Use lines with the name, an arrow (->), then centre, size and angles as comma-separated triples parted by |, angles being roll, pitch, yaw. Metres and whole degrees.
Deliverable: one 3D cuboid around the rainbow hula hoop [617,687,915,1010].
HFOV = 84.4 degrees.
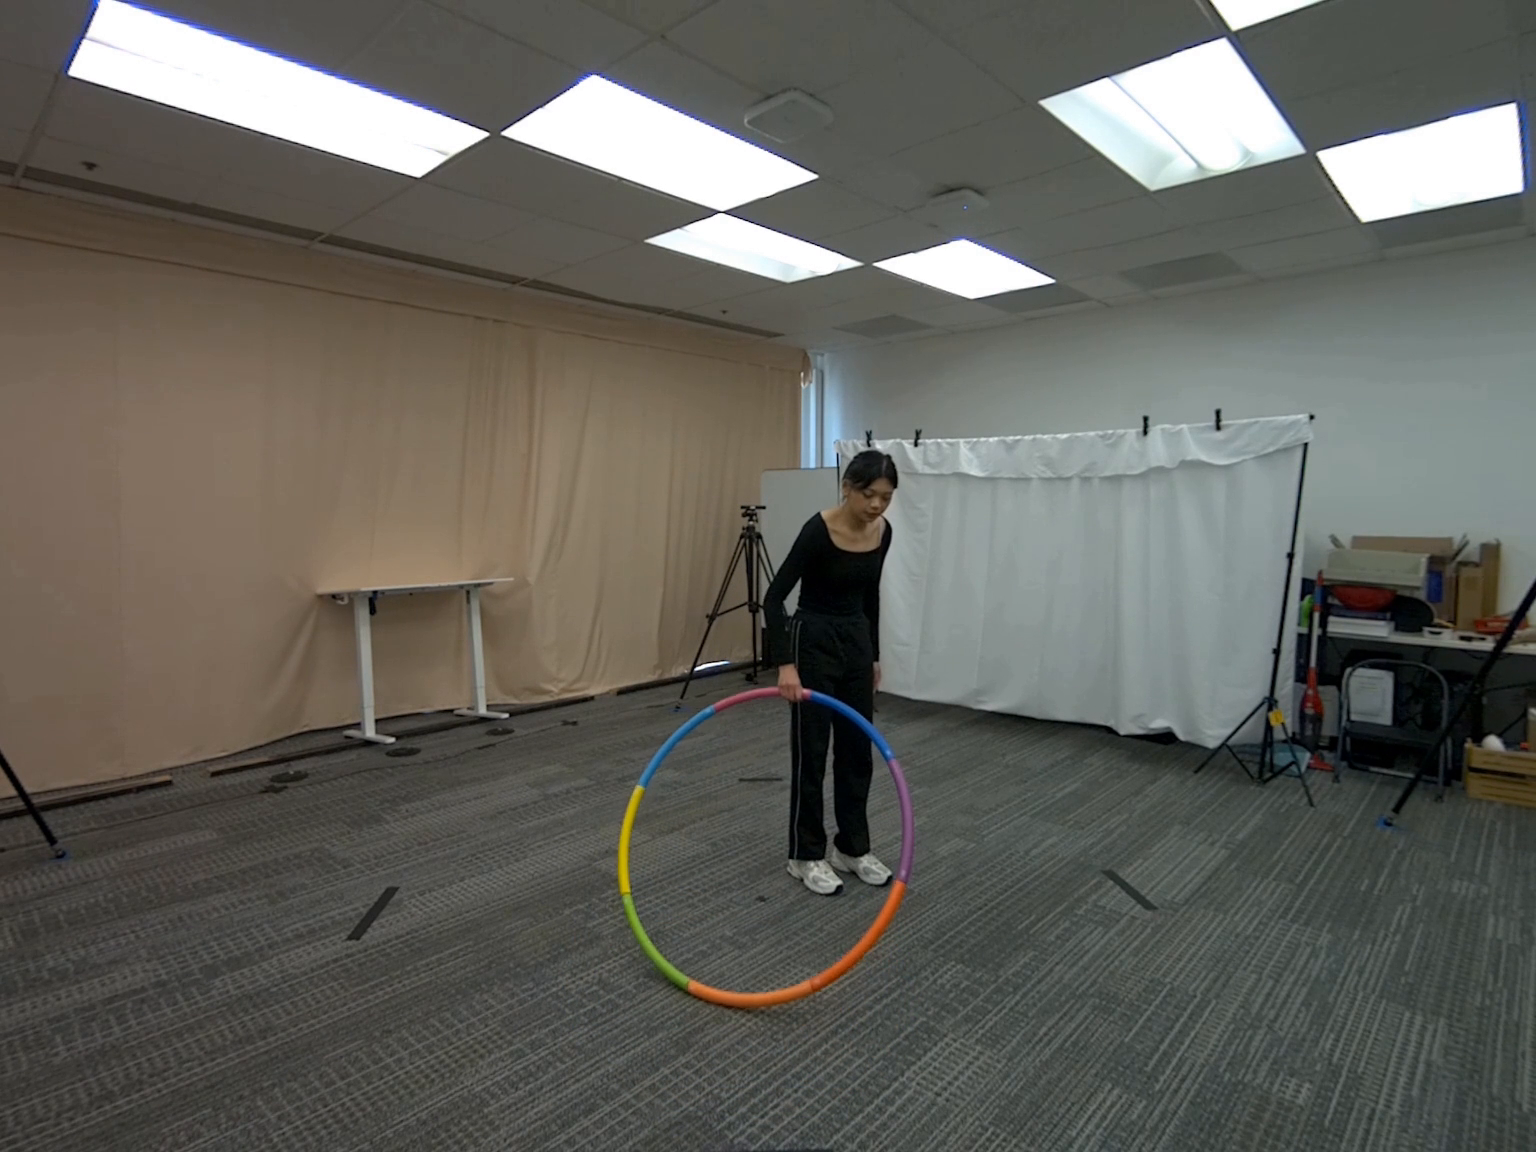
rainbow hula hoop -> -0.030, 0.784, 2.626 | 1.007, 0.983, 0.034 | 2, -35, 30
